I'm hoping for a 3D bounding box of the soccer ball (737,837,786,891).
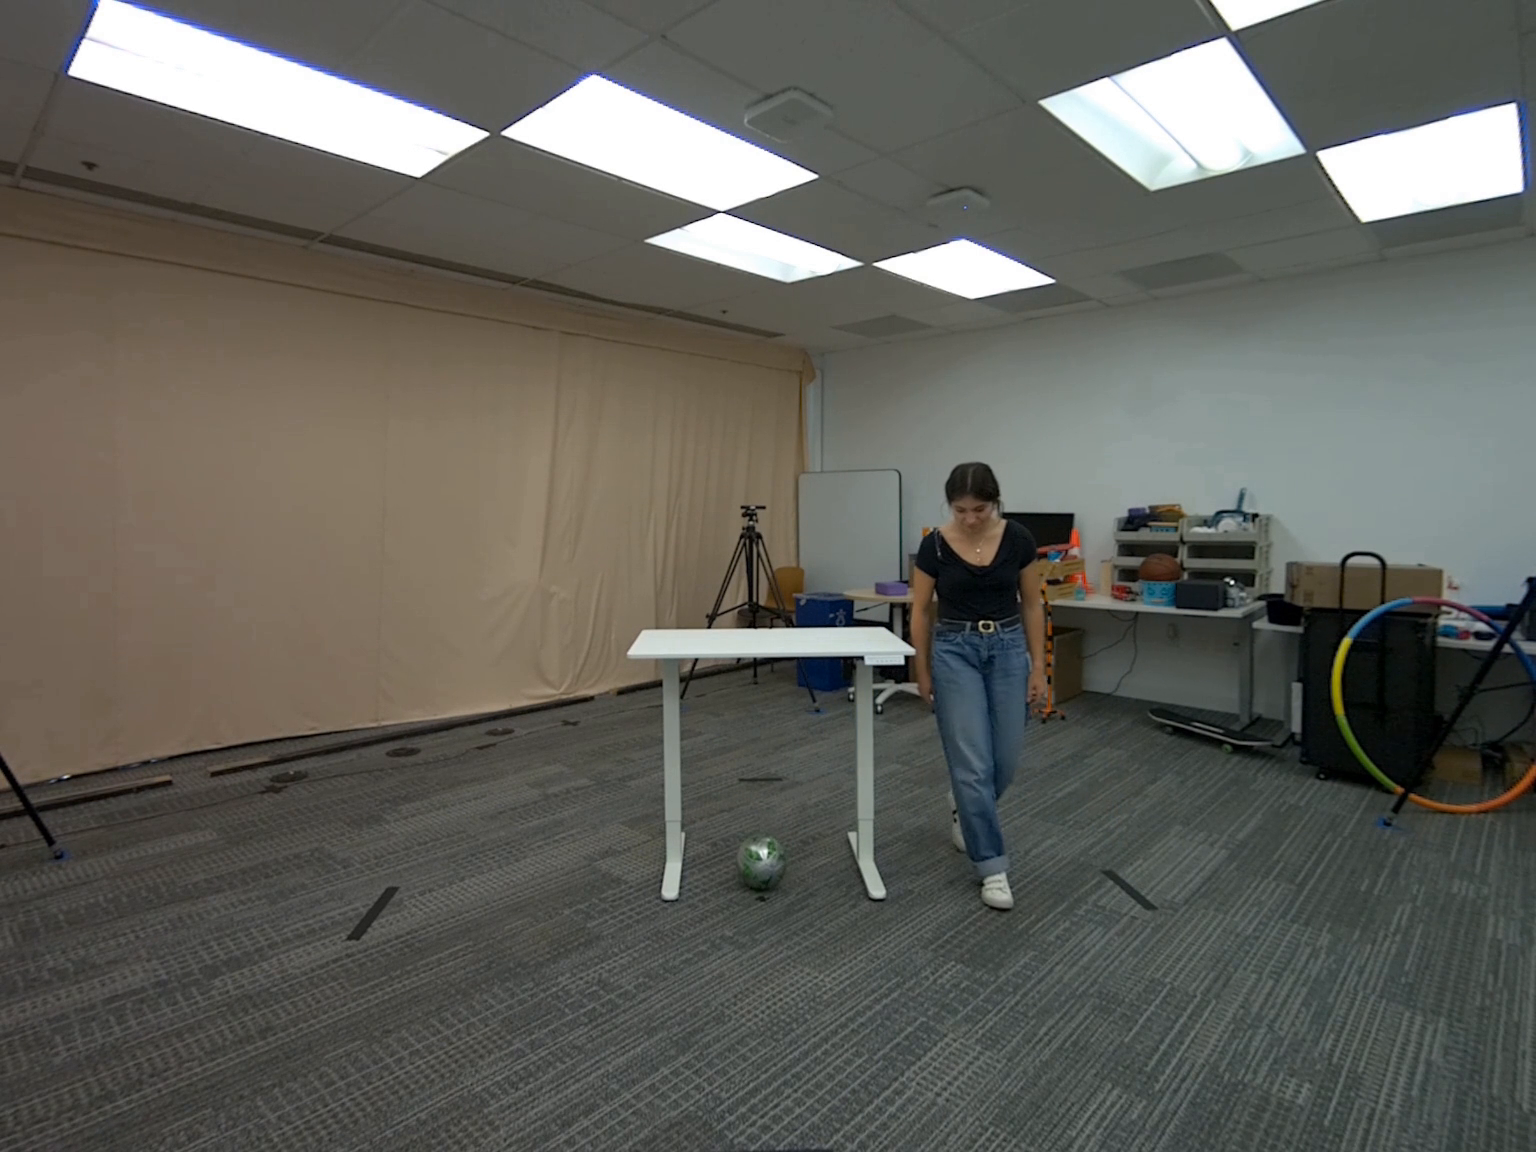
[{"bbox_3d":[-0.014,1.049,3.073,0.187,0.187,0.188,0,4,-2],"label":"soccer ball"}]
